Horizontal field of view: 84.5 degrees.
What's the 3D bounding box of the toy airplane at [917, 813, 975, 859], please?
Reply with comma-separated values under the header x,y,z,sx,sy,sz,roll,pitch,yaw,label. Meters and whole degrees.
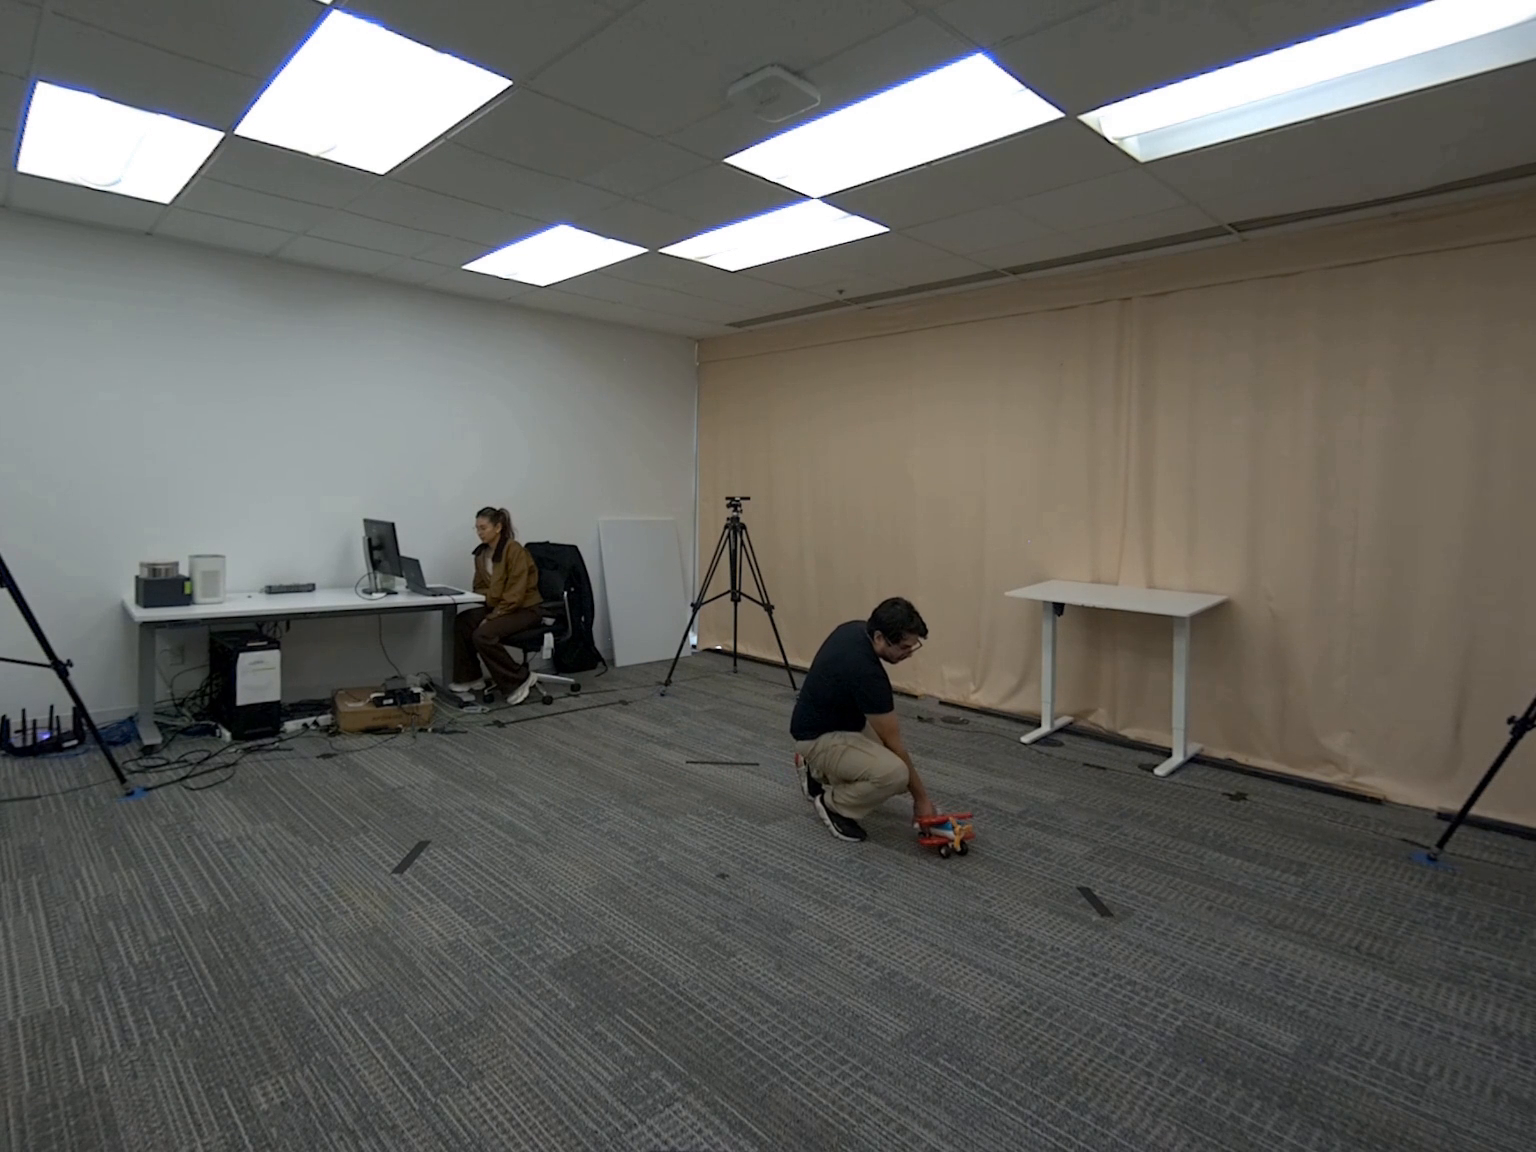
x,y,z,sx,sy,sz,roll,pitch,yaw,label
0.679,1.026,3.392,0.266,0.156,0.245,8,8,38,toy airplane
